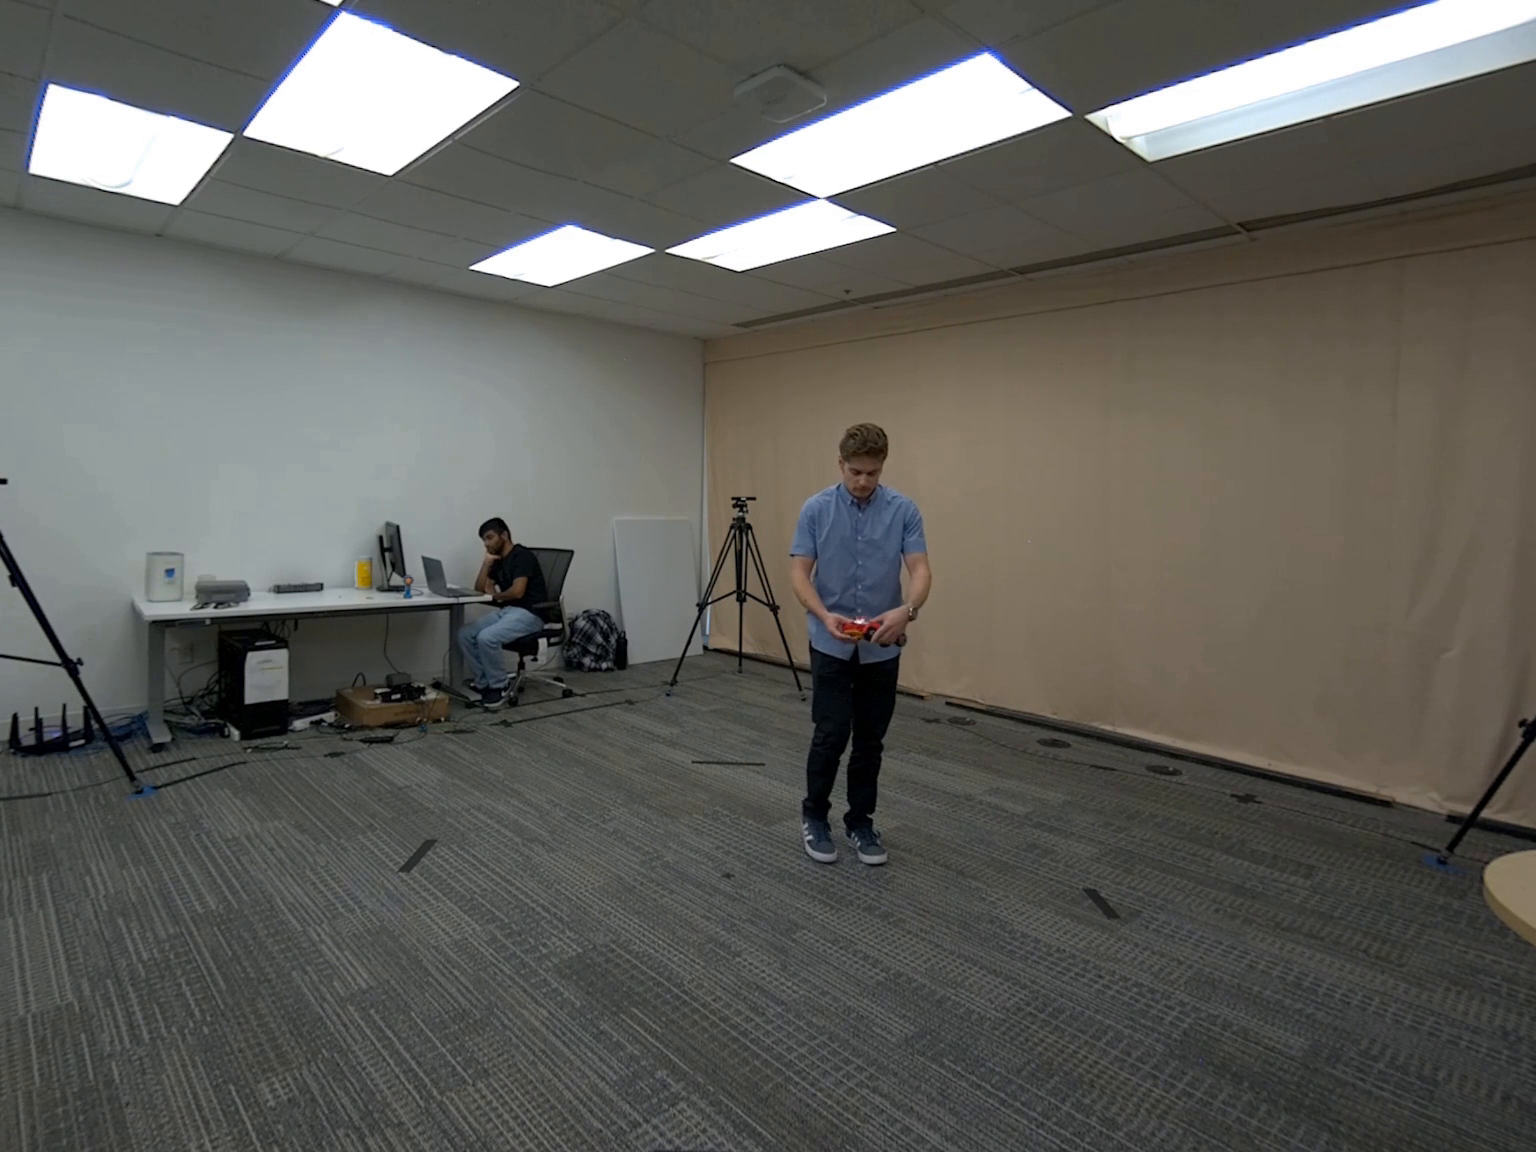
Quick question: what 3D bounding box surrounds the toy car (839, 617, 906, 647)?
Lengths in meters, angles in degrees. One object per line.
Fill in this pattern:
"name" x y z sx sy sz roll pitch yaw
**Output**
"toy car" 0.364 0.214 3.013 0.248 0.084 0.132 24 -22 -30
